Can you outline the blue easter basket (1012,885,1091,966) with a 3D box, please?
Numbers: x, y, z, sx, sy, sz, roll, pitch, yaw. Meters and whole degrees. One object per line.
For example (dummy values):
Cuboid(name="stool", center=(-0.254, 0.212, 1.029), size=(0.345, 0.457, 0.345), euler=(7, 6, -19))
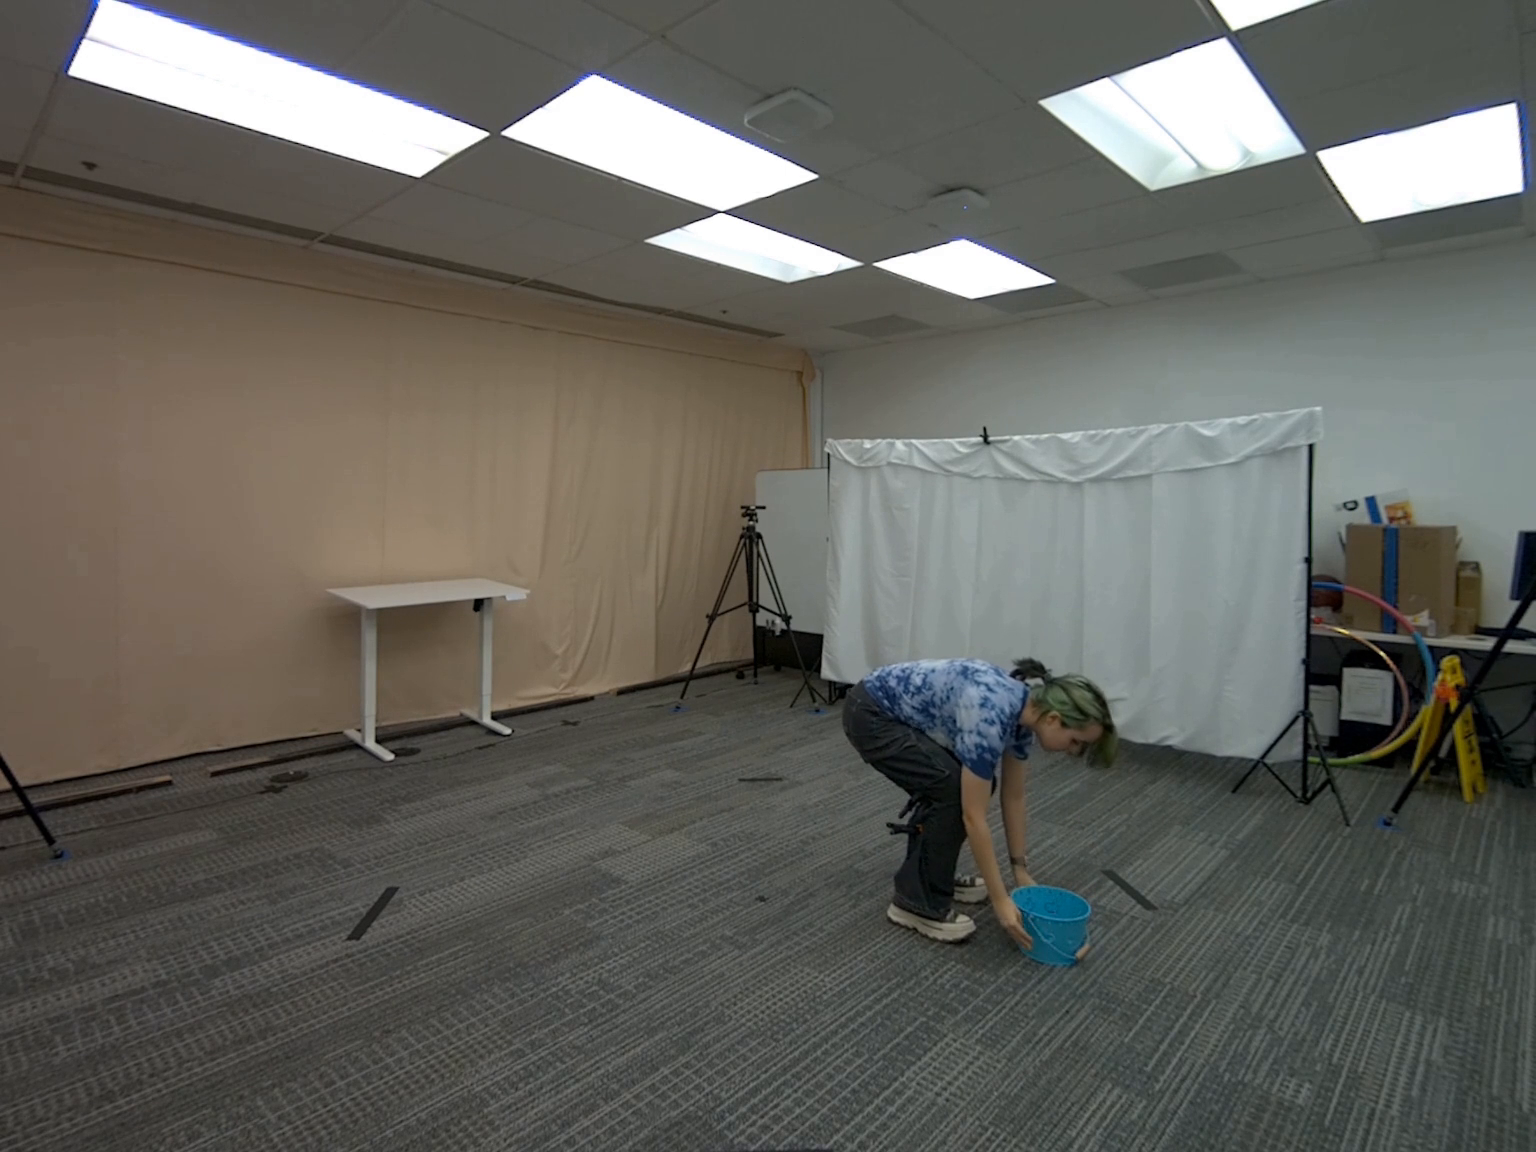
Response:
Cuboid(name="blue easter basket", center=(0.886, 1.093, 2.625), size=(0.243, 0.155, 0.244), euler=(0, 3, -2))
